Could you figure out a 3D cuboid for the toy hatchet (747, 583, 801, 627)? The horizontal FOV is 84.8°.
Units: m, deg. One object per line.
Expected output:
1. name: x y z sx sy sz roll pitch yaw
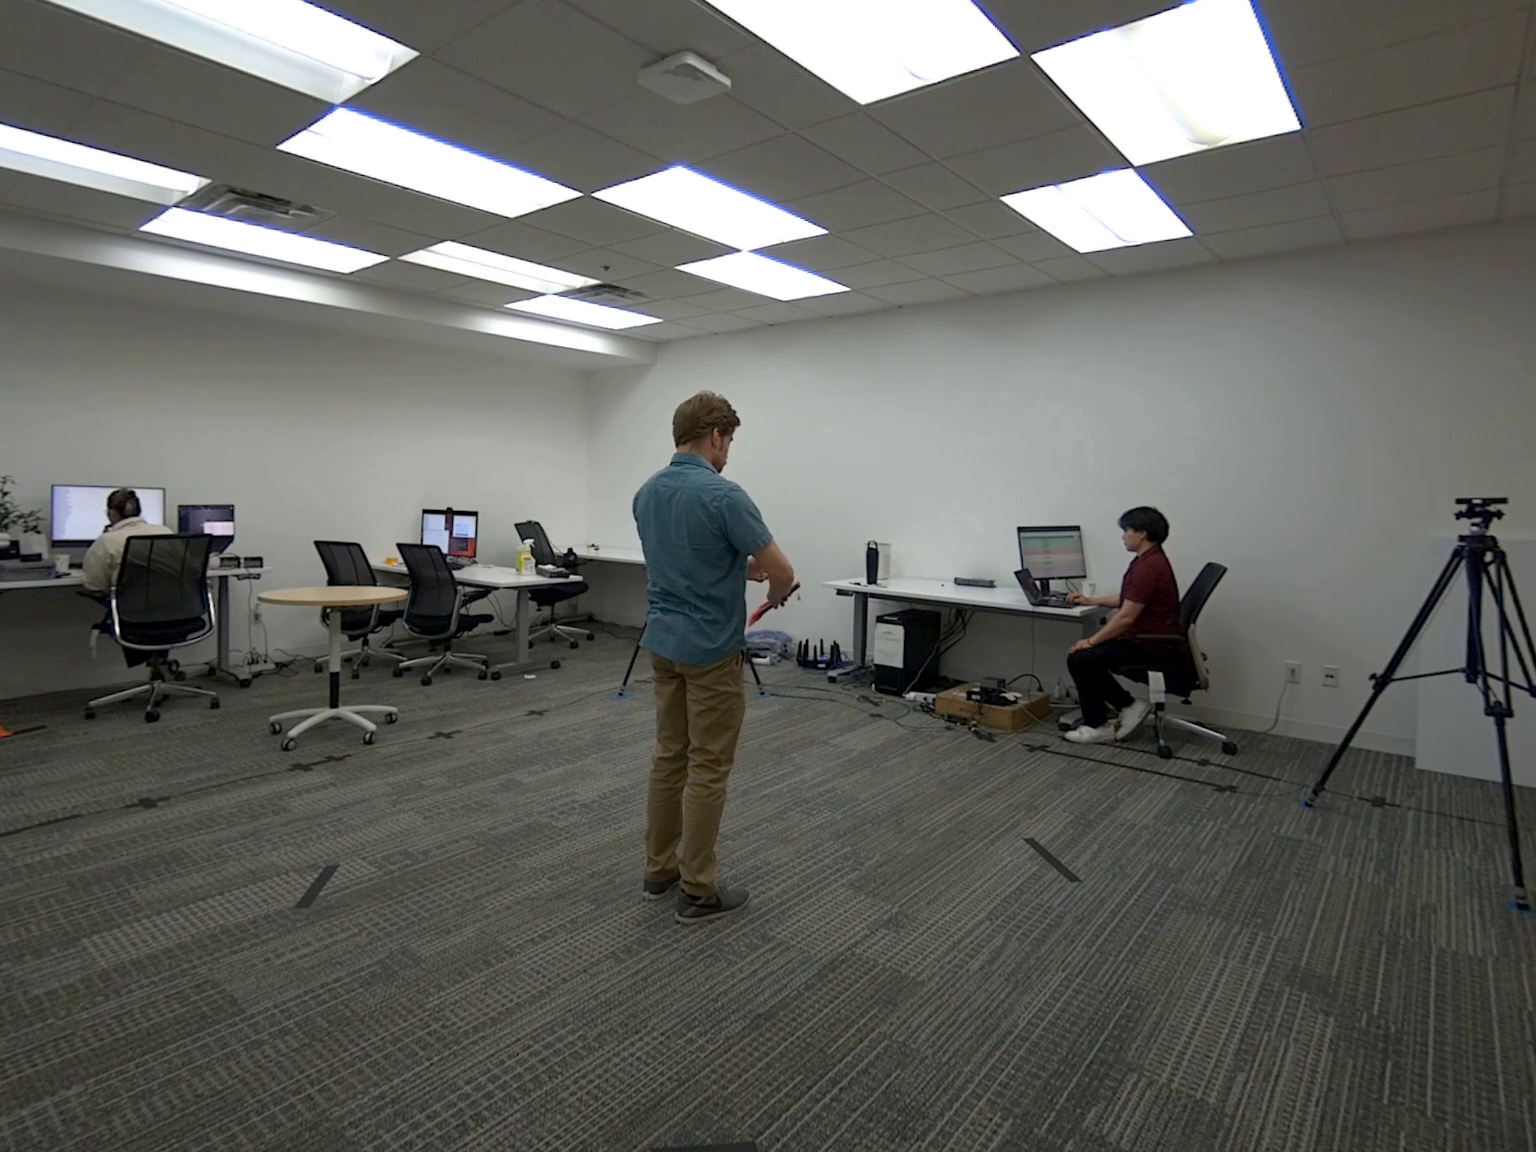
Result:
1. toy hatchet: 0.025 0.081 3.125 0.272 0.029 0.132 -37 12 26
